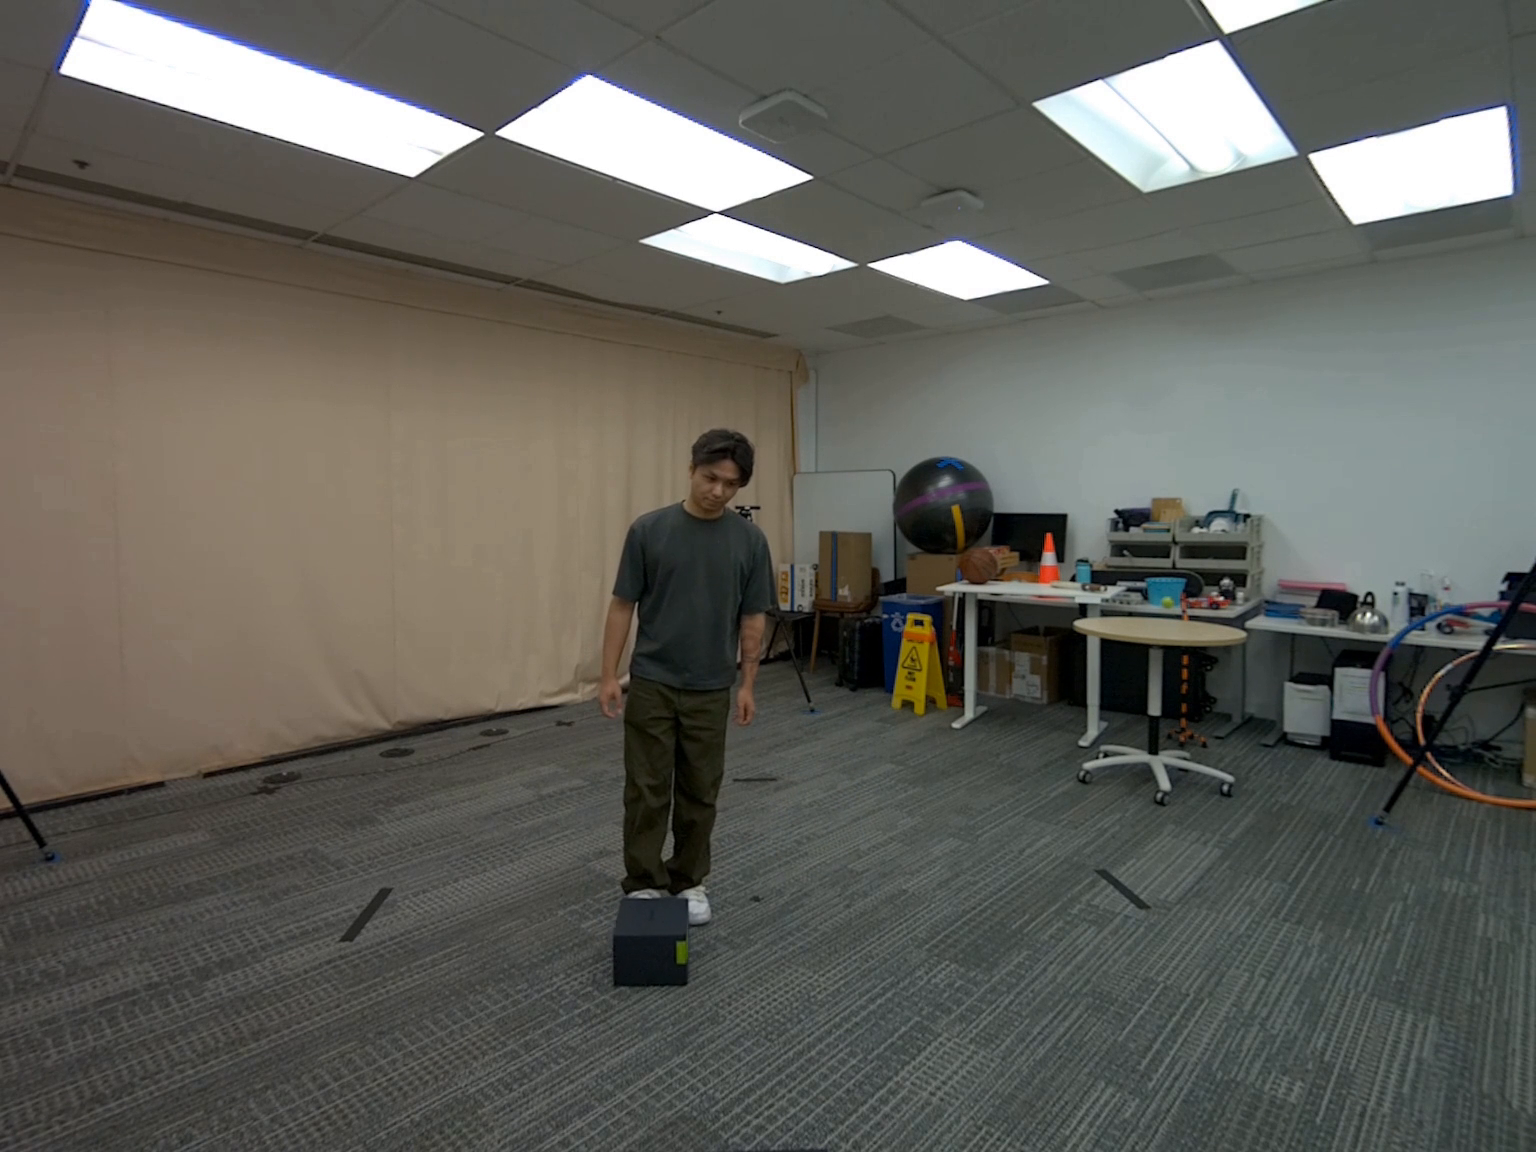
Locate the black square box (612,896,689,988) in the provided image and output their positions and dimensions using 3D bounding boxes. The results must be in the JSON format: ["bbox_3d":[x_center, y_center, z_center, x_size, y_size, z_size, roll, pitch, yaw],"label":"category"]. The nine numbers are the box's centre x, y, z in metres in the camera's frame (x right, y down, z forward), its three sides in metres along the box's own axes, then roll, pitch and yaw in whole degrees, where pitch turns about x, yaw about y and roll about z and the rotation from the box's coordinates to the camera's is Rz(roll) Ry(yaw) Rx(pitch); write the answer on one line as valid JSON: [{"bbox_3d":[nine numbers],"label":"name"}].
[{"bbox_3d":[-0.351,1.092,2.549,0.217,0.155,0.229,0,4,-2],"label":"black square box"}]
